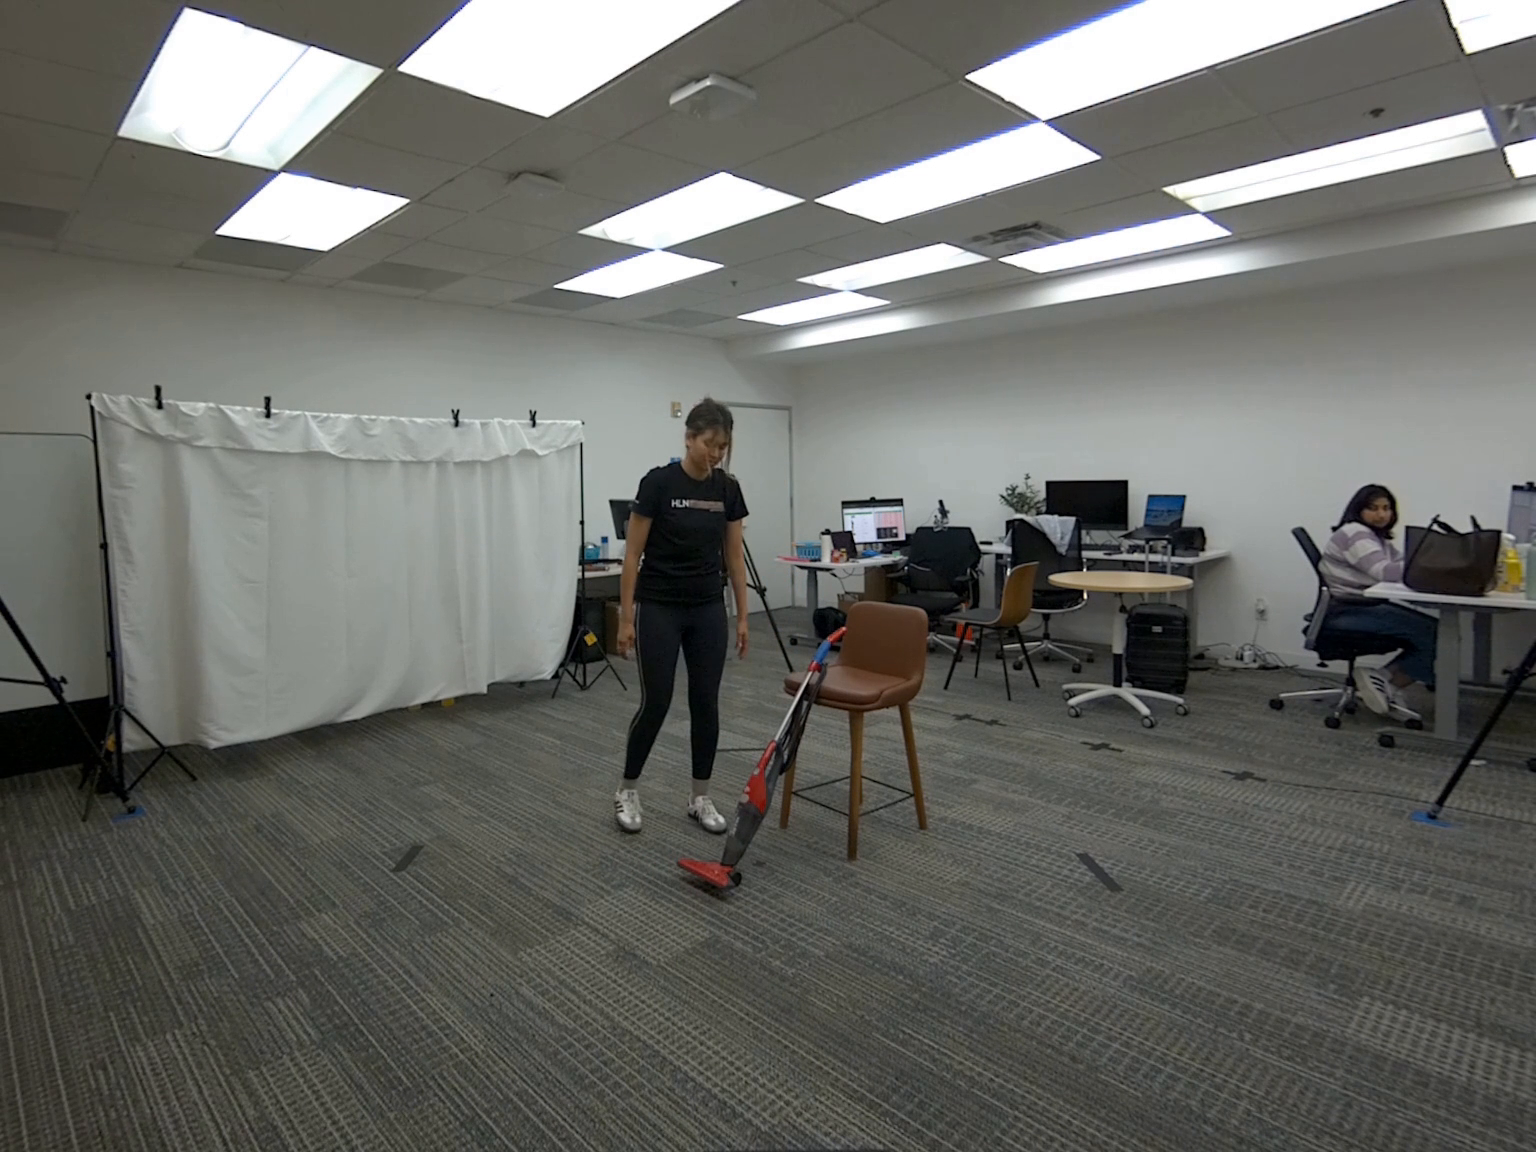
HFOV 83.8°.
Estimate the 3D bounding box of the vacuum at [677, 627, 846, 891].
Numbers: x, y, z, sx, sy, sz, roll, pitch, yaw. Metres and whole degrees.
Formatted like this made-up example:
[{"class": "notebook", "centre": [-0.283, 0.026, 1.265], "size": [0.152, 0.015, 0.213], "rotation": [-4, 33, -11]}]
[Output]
[{"class": "vacuum", "centre": [0.054, 0.633, 3.145], "size": [0.261, 1.055, 0.138], "rotation": [8, -32, 41]}]
